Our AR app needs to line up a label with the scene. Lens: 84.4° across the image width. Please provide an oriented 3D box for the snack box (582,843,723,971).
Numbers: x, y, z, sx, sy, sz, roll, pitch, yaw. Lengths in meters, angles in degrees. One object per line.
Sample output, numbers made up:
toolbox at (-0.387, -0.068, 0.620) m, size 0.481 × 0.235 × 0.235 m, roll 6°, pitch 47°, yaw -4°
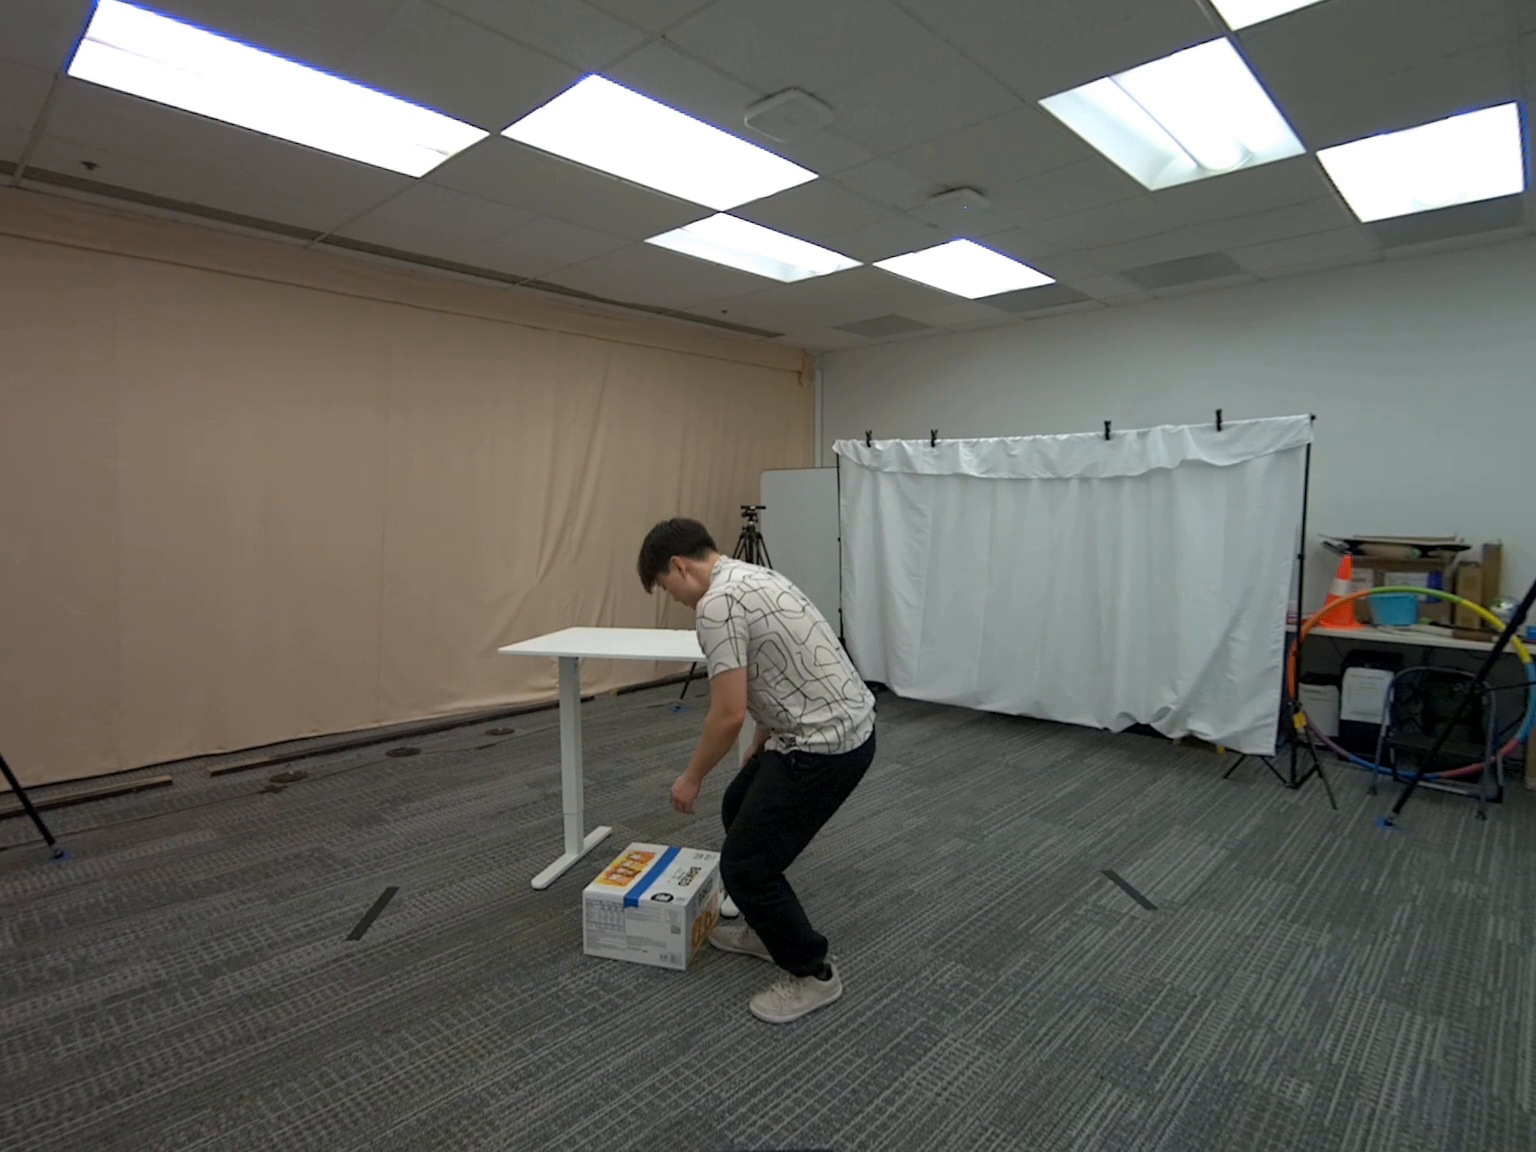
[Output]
snack box at (-0.362, 1.065, 2.746) m, size 0.346 × 0.205 × 0.399 m, roll 1°, pitch 4°, yaw 16°
